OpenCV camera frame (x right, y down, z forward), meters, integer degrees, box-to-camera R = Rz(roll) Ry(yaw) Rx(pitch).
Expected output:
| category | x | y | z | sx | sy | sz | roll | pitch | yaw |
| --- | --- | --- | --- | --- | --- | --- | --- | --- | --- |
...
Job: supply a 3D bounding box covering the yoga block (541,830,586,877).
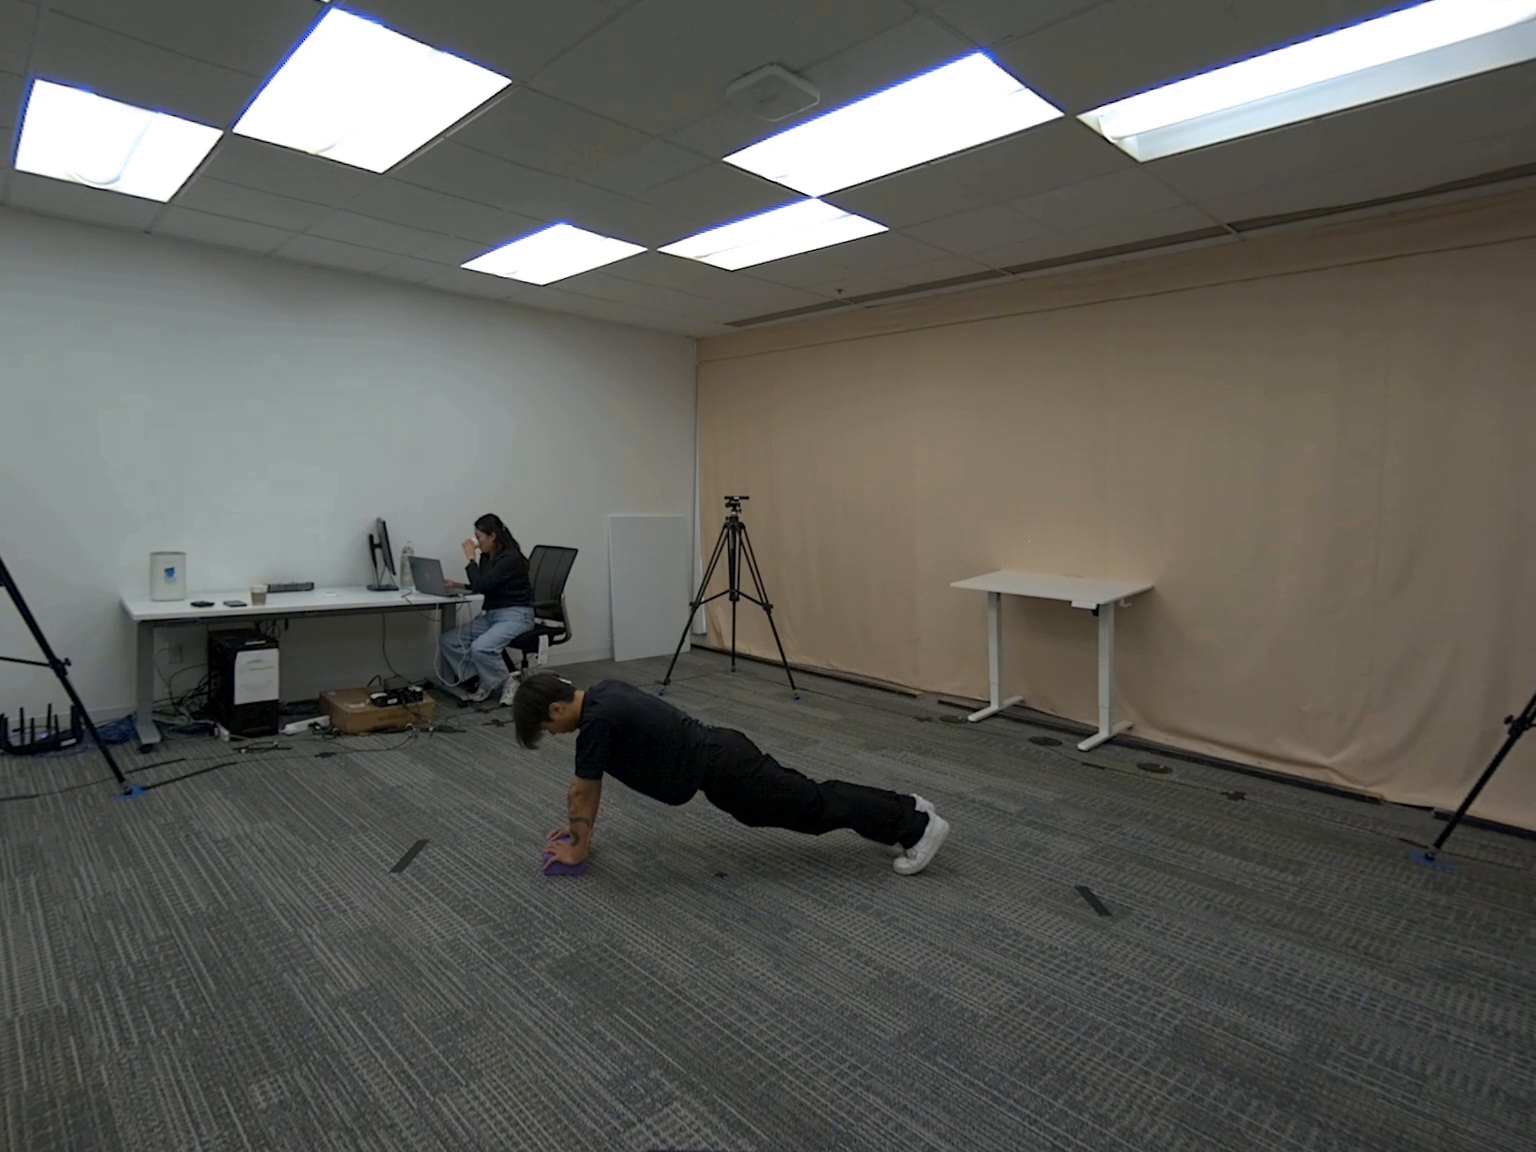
| category | x | y | z | sx | sy | sz | roll | pitch | yaw |
| --- | --- | --- | --- | --- | --- | --- | --- | --- | --- |
| yoga block | -0.763 | 1.040 | 3.180 | 0.148 | 0.076 | 0.231 | 1 | 7 | -7 |
